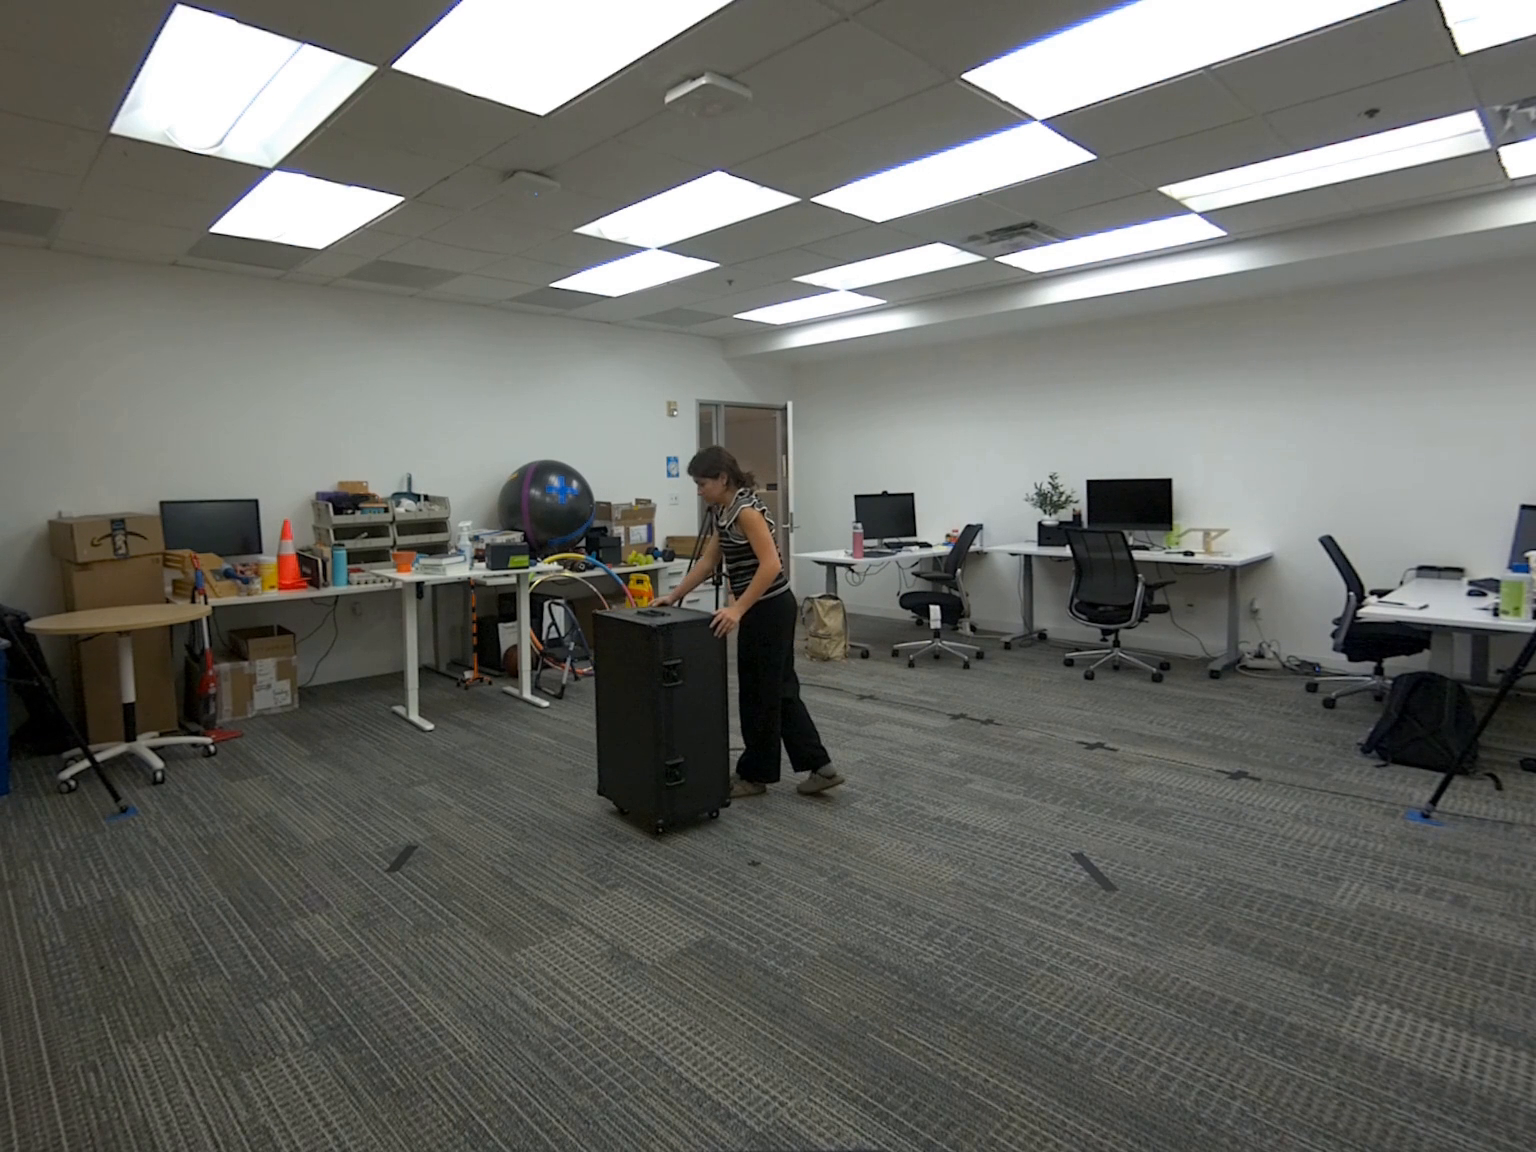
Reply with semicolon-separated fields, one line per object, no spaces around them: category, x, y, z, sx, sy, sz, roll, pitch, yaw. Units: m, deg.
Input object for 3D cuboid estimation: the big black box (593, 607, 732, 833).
big black box;-0.441;0.577;3.544;0.386;0.859;0.537;-3;4;-38
